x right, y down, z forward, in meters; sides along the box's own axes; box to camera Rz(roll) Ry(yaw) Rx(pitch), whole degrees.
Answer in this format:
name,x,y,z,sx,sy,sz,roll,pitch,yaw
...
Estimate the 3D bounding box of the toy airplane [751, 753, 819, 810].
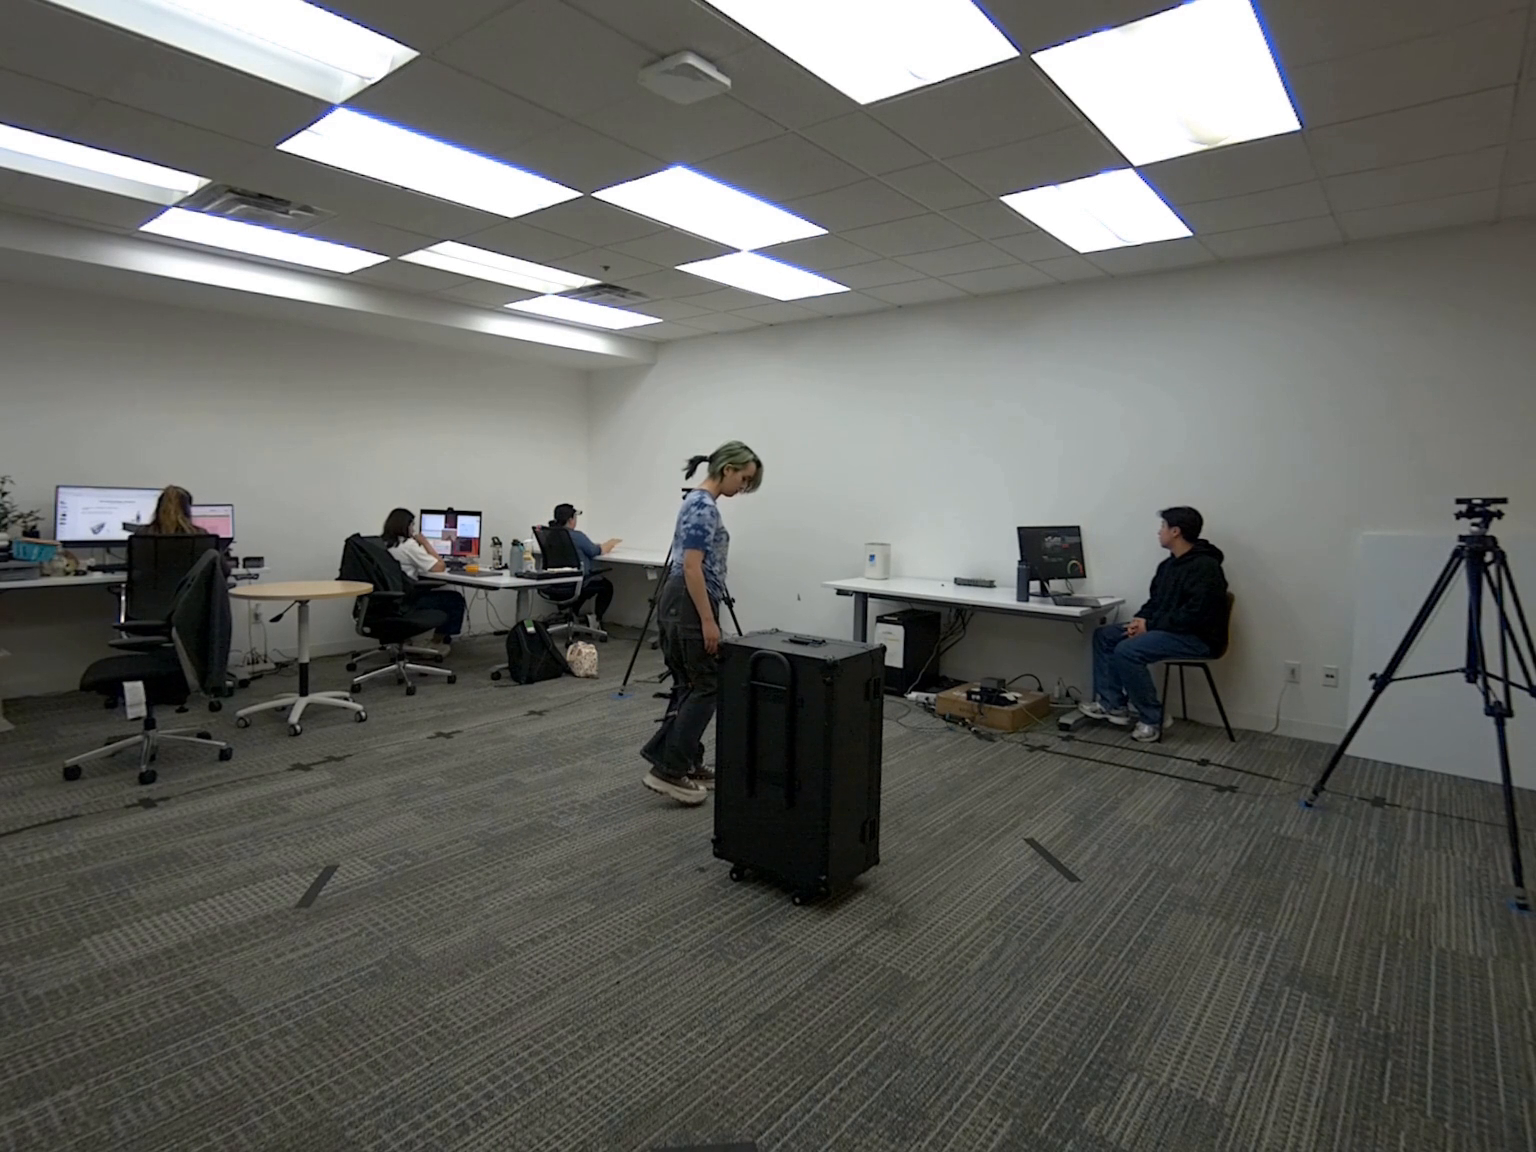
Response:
name,x,y,z,sx,sy,sz,roll,pitch,yaw
toy airplane,0.070,0.924,3.807,0.248,0.156,0.263,0,6,-10
